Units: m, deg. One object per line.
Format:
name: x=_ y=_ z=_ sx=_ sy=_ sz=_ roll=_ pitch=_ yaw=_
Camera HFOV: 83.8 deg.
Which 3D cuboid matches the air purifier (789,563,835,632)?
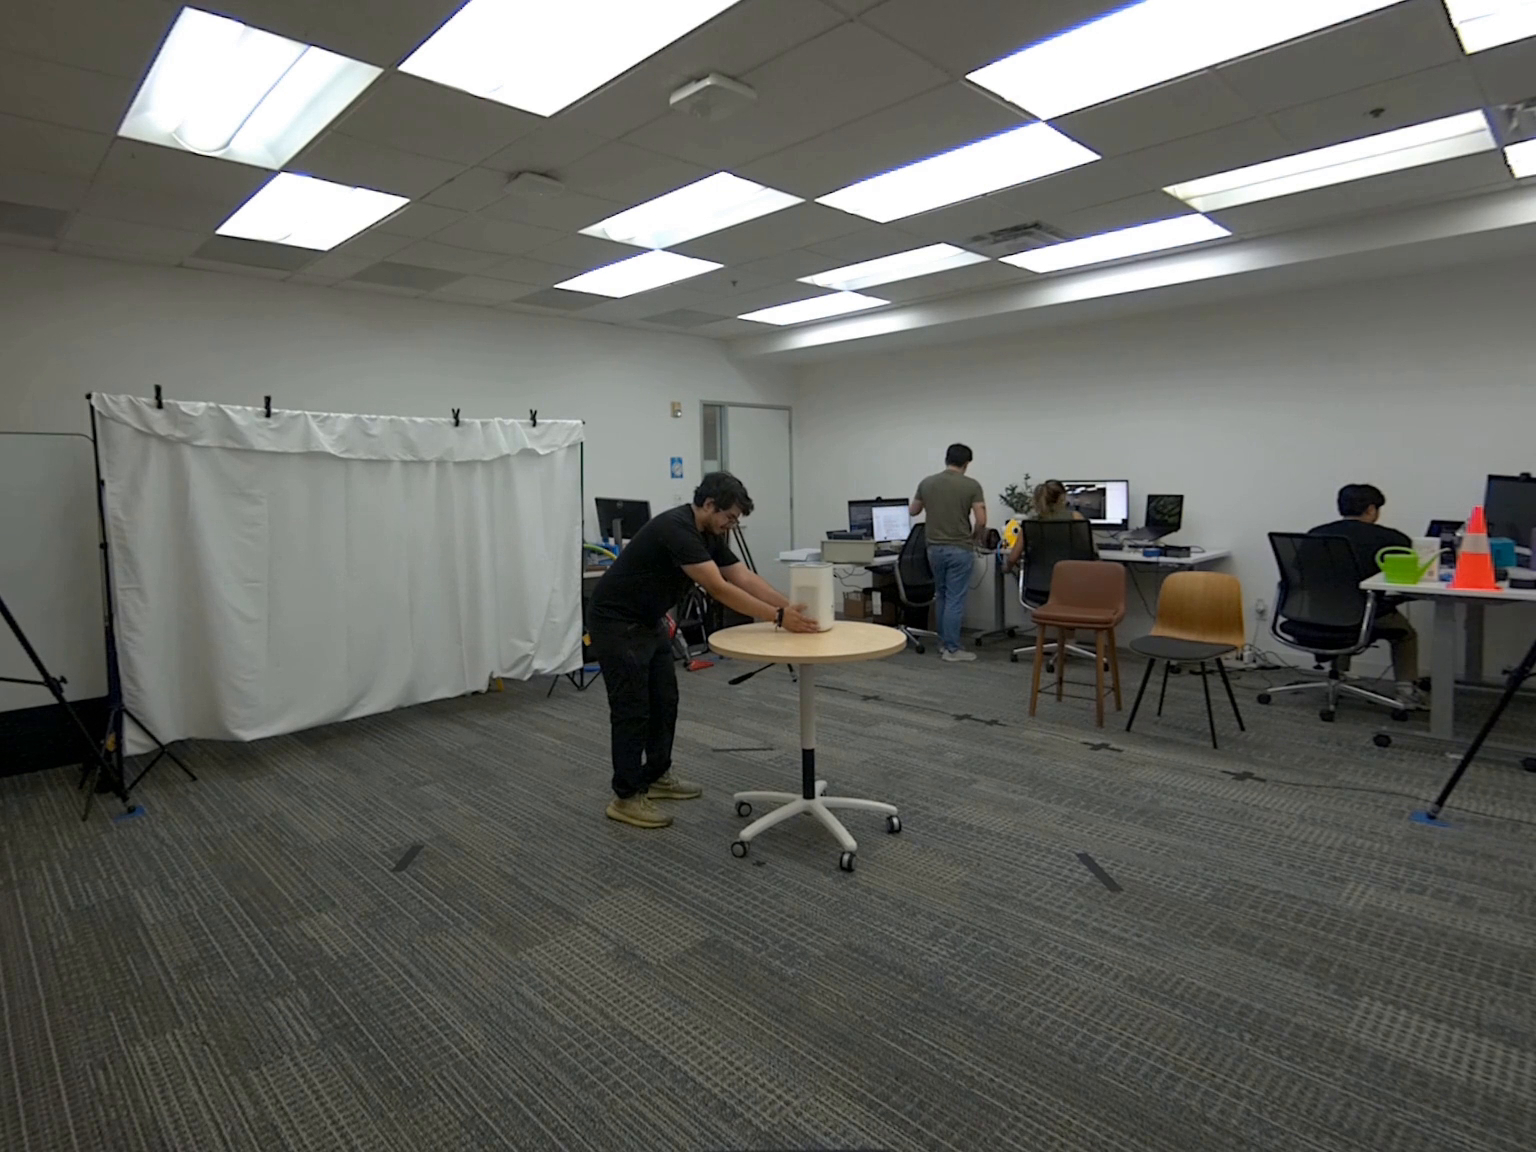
air purifier: x=0.181 y=0.086 z=3.478 sx=0.174 sy=0.264 sz=0.169 roll=2 pitch=5 yaw=15
